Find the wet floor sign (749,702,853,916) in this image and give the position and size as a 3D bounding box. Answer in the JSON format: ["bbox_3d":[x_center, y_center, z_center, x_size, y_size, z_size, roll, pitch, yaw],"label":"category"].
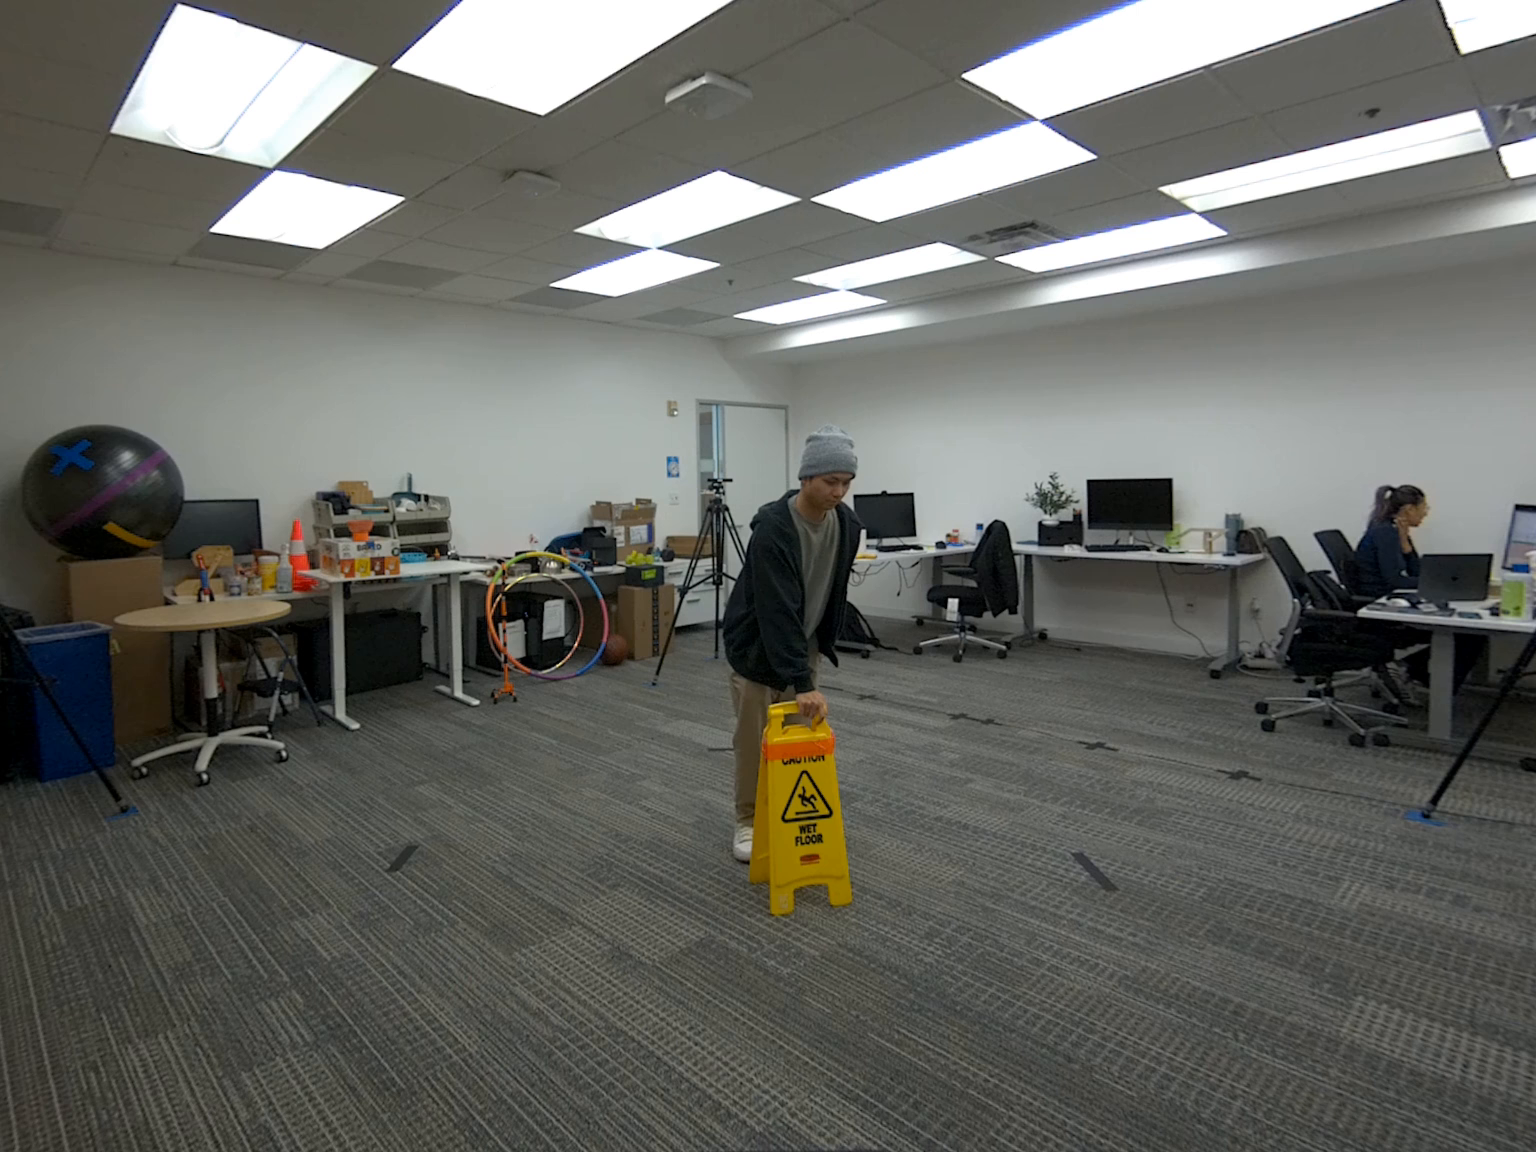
[{"bbox_3d":[0.102,0.744,2.861,0.278,0.643,0.295,-3,6,-16],"label":"wet floor sign"}]
